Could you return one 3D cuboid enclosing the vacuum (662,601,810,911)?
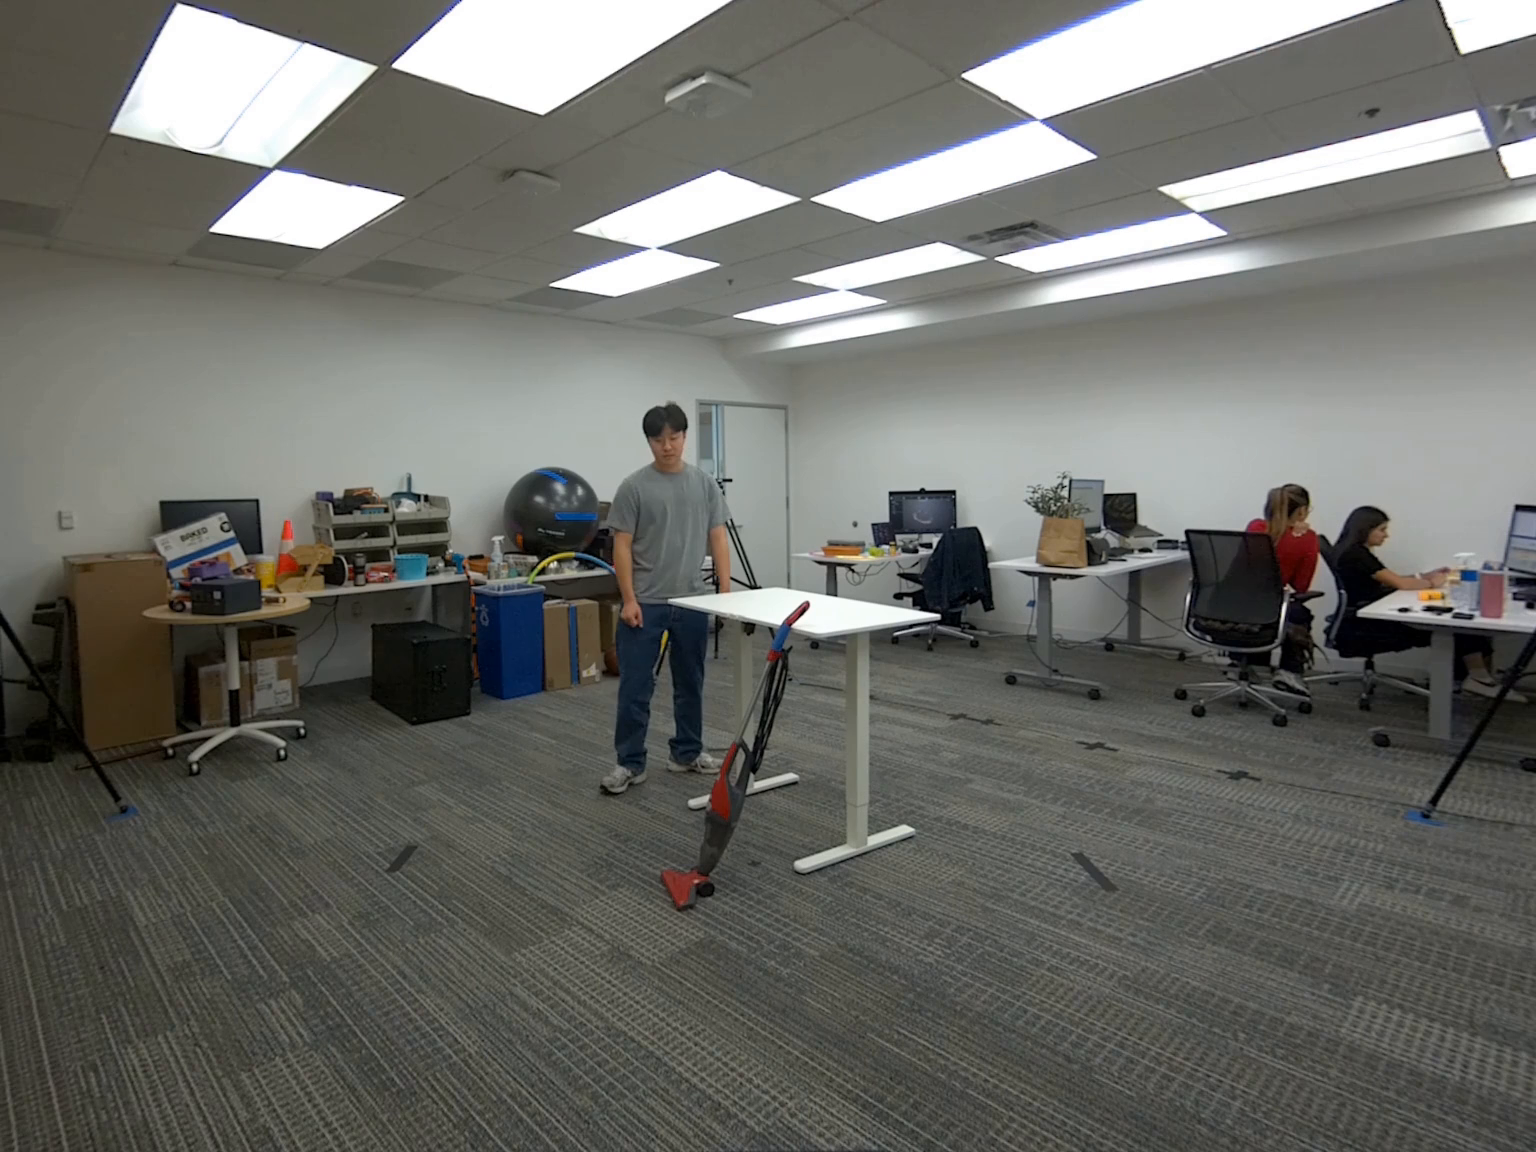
[{"bbox_3d":[-0.064,0.591,2.935,0.139,1.051,0.260,25,-4,-30],"label":"vacuum"}]
